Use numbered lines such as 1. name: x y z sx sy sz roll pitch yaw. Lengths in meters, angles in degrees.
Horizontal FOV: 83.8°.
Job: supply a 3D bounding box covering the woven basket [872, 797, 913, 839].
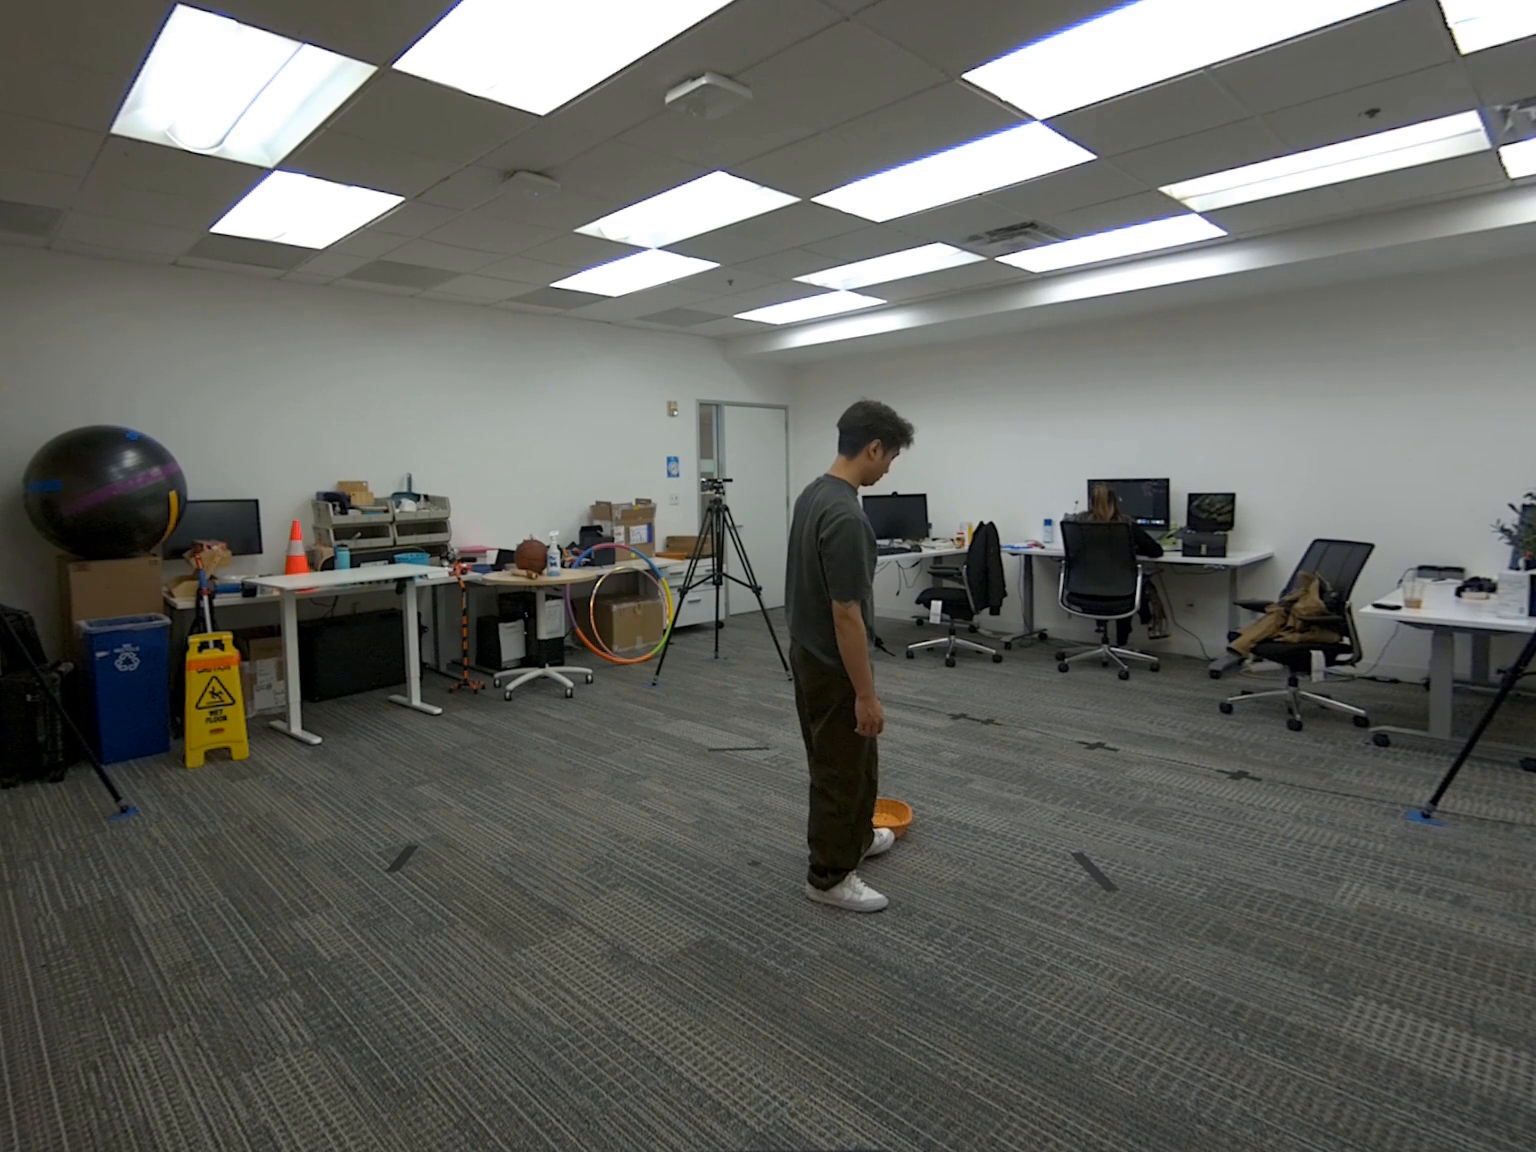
1. woven basket: 0.446 0.961 3.386 0.255 0.073 0.347 0 3 11
